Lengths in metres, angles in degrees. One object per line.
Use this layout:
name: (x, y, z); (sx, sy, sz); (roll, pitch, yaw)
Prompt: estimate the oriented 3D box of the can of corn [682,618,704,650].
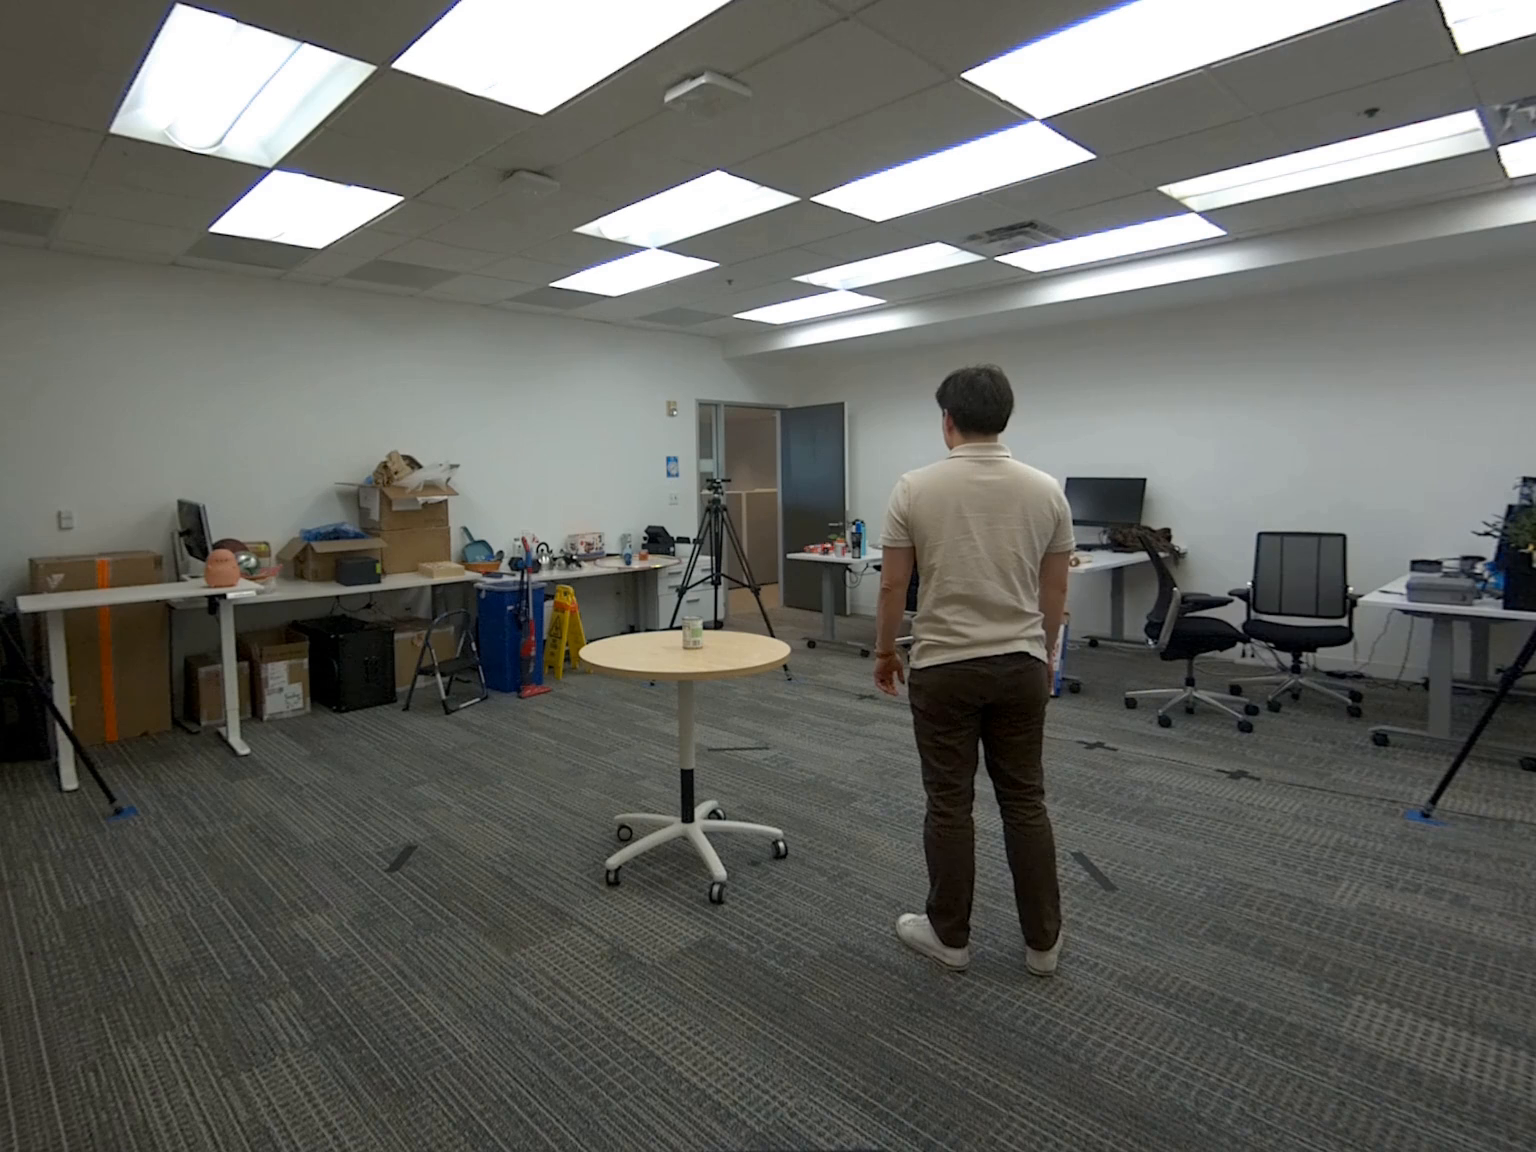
can of corn: (-0.275, 0.204, 3.118); (0.074, 0.111, 0.074); (-1, 3, -2)
